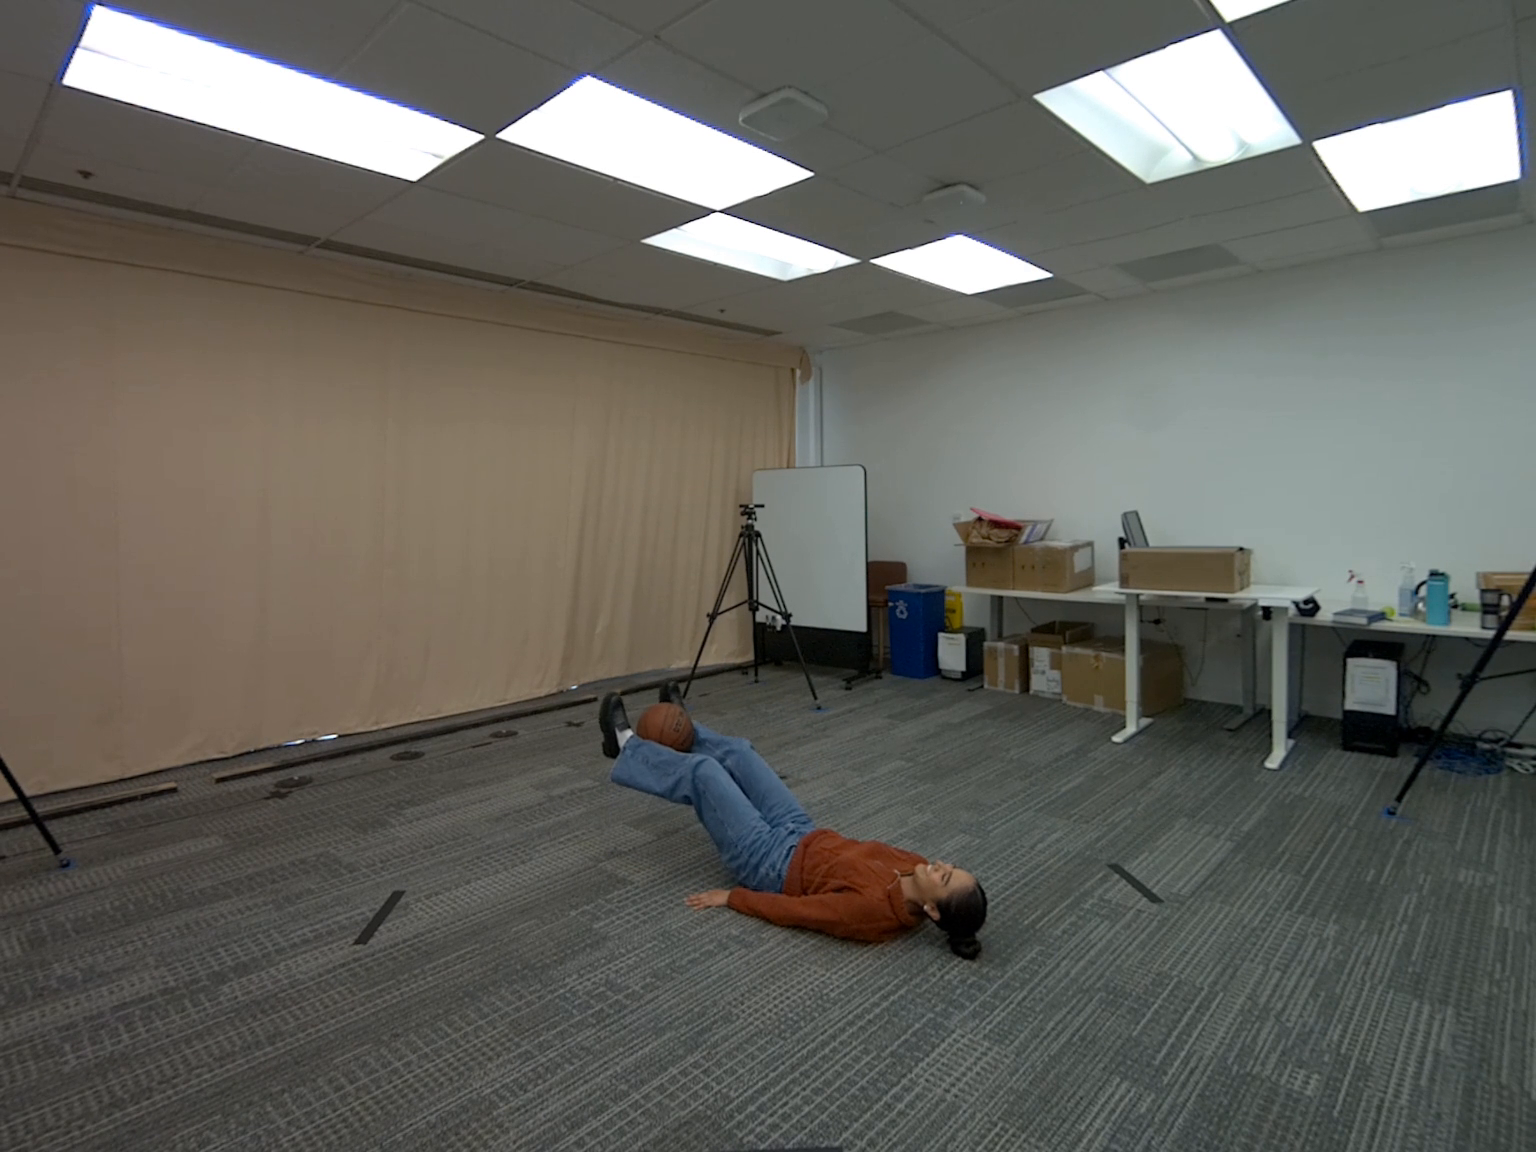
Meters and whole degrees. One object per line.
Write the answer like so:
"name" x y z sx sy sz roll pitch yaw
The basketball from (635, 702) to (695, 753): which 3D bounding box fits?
"basketball" -0.417 0.643 3.444 0.236 0.235 0.237 -1 4 -2
